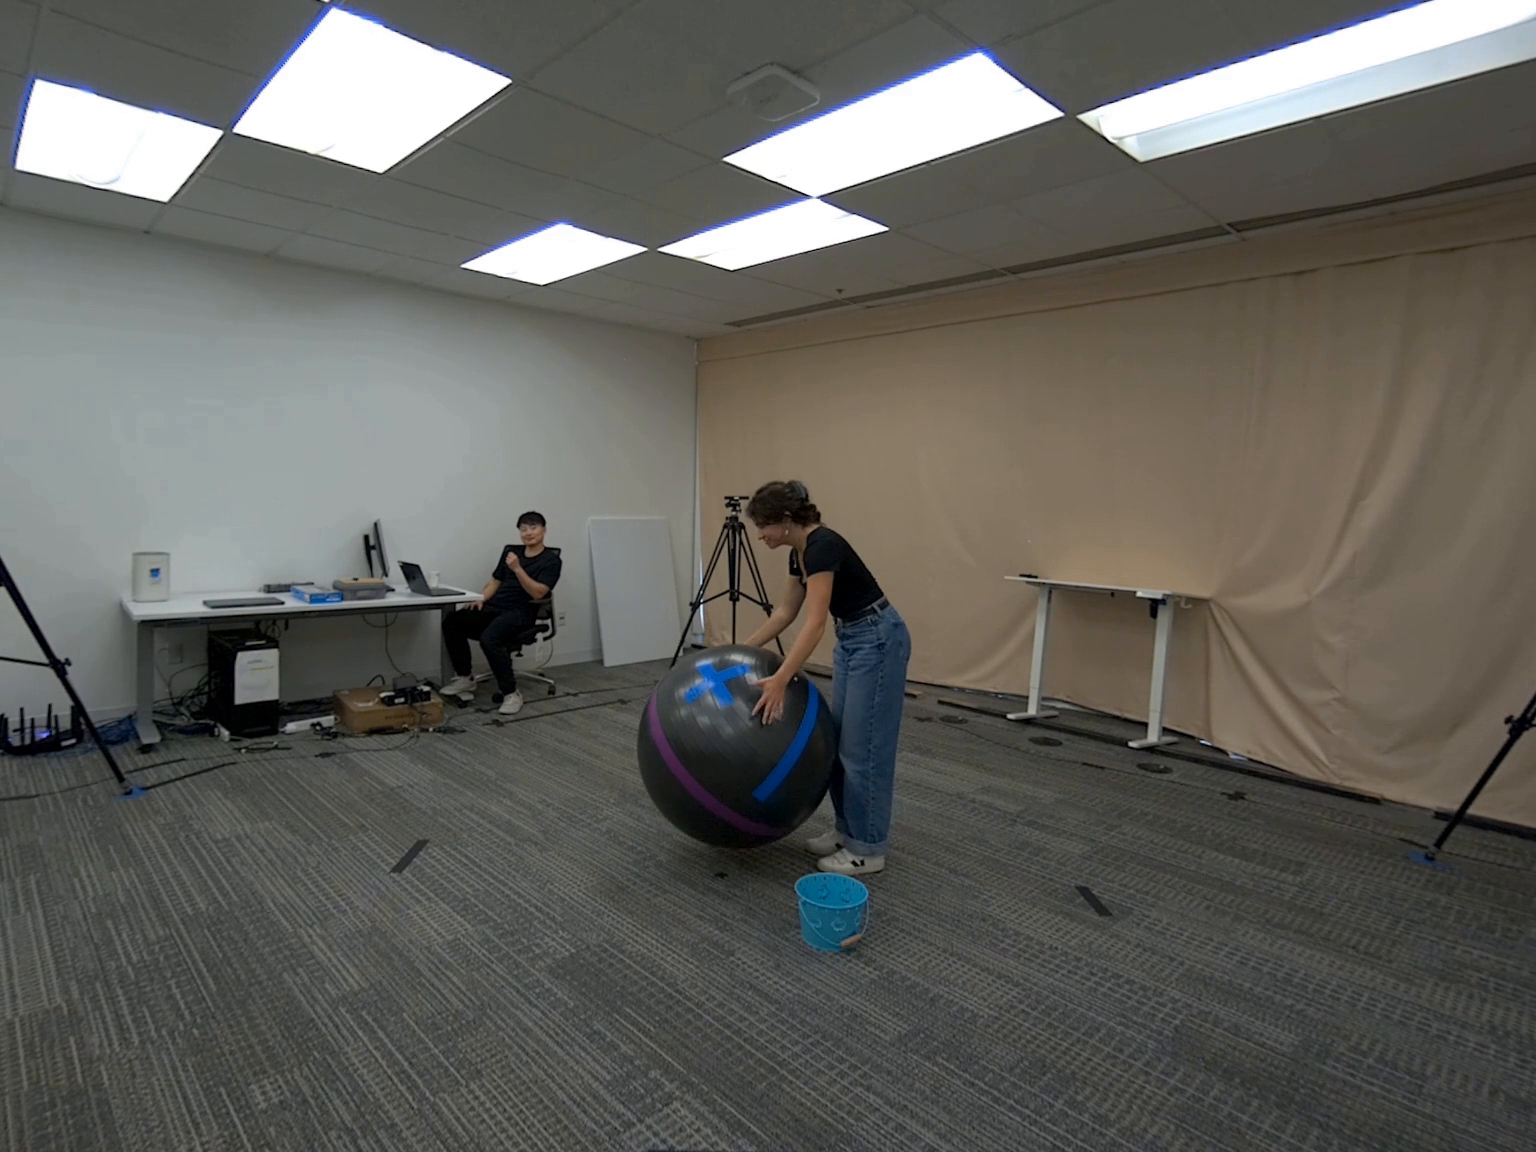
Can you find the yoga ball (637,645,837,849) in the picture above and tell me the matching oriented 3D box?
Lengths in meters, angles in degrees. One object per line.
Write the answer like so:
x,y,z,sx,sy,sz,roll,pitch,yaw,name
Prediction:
-0.136,0.656,3.222,0.757,0.756,0.761,1,4,-1,yoga ball
